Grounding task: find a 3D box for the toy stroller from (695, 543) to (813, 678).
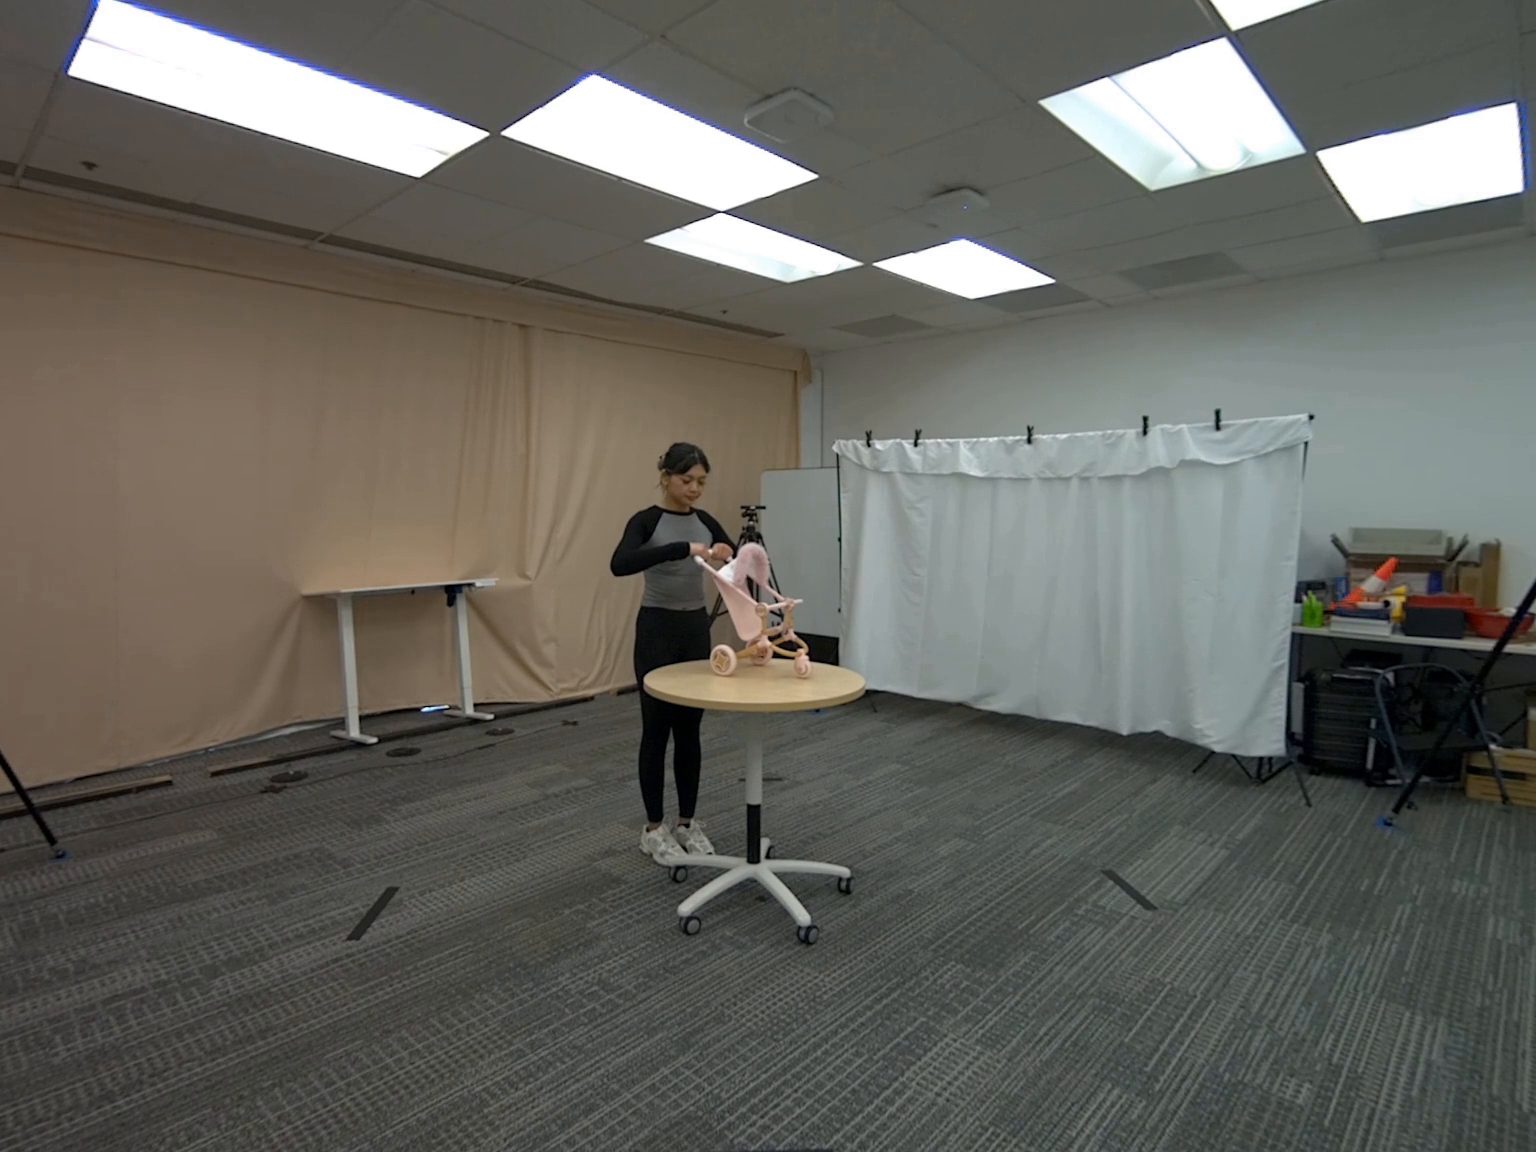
[{"bbox_3d":[-0.039,0.122,3.016,0.350,0.537,0.273,-16,-6,37],"label":"toy stroller"}]
